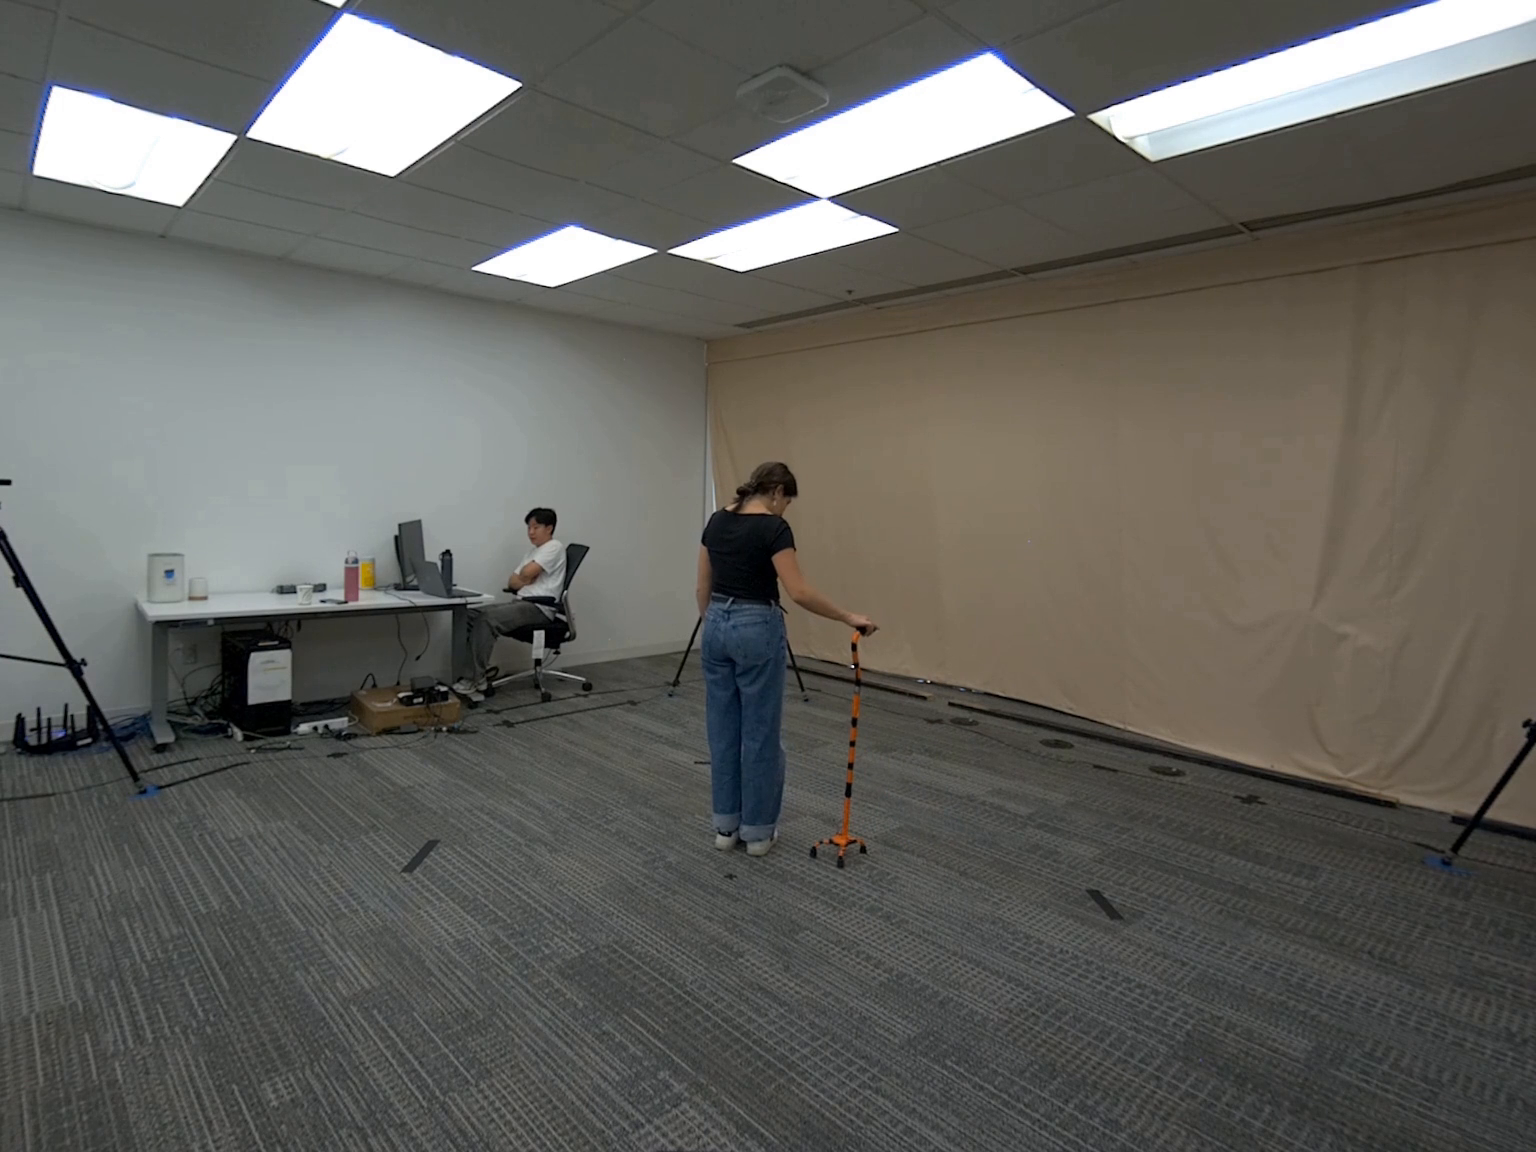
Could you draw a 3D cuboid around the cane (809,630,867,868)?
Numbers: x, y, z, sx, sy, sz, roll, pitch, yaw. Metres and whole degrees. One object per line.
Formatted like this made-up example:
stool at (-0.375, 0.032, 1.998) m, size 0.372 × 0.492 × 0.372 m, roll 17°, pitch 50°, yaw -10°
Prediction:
cane at (0.308, 0.649, 3.278) m, size 0.155 × 0.906 × 0.202 m, roll 7°, pitch 4°, yaw 35°
